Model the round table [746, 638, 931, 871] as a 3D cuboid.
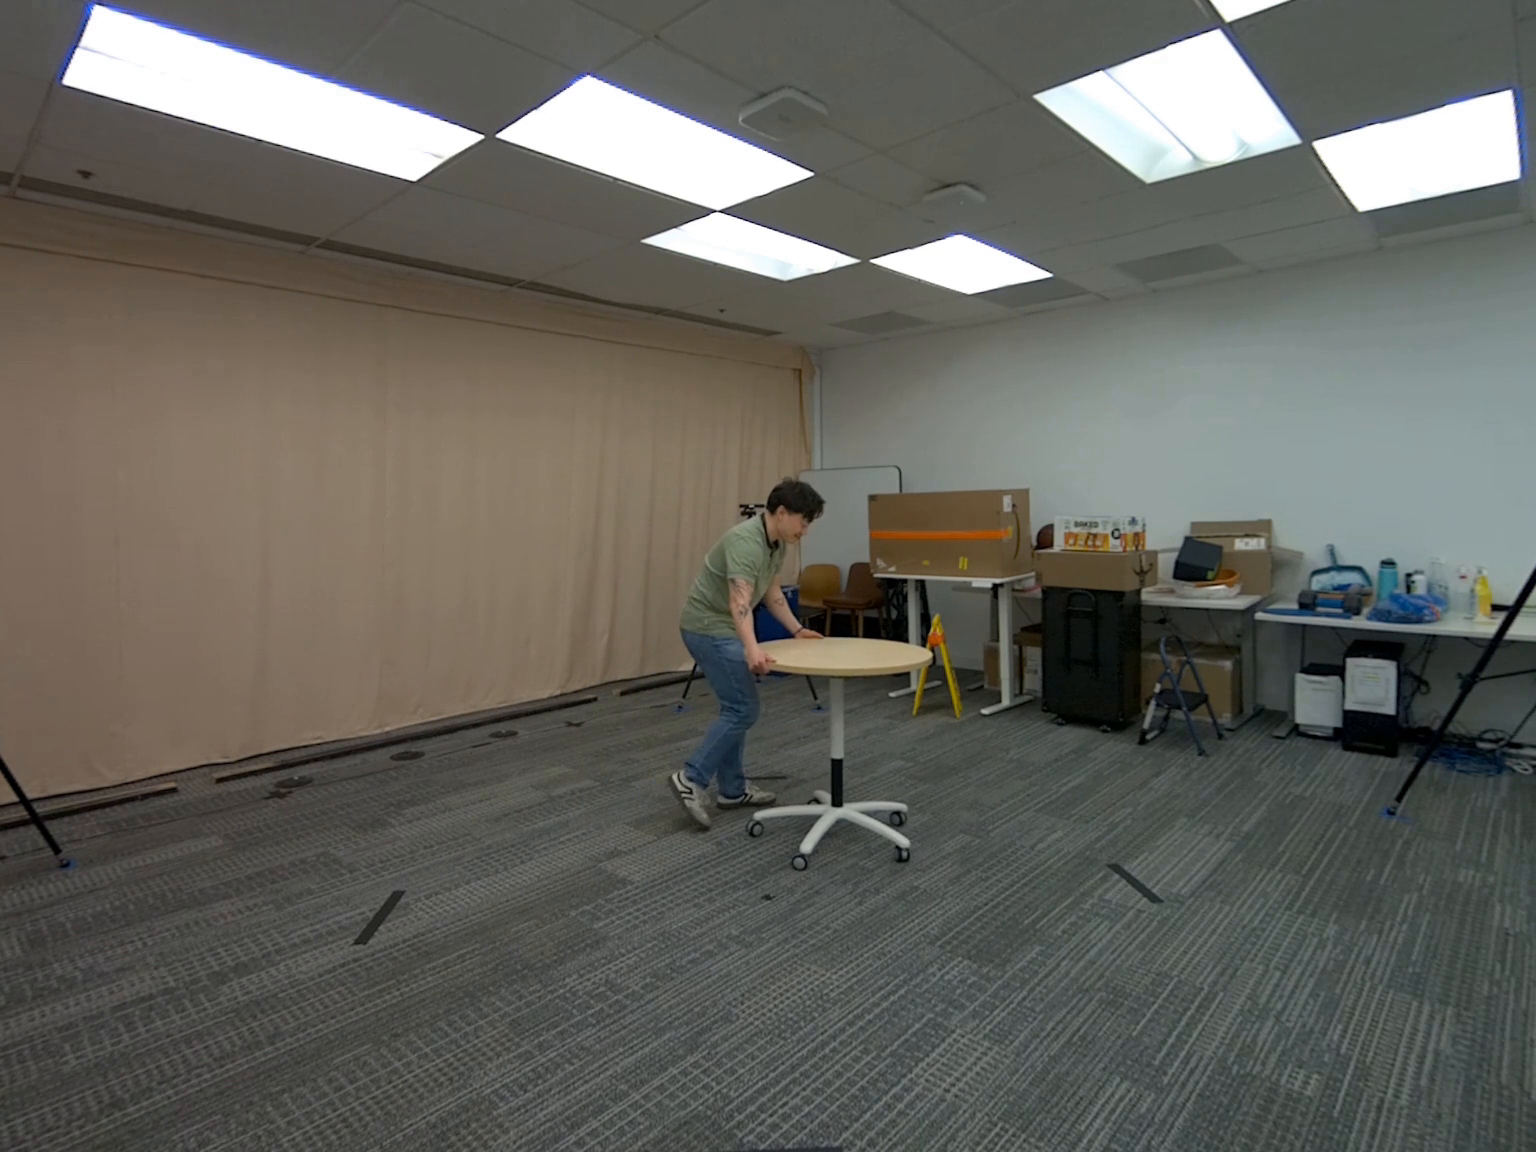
[{"bbox_3d":[0.280,0.702,3.469,0.763,0.792,0.766,0,3,-2],"label":"round table"}]
